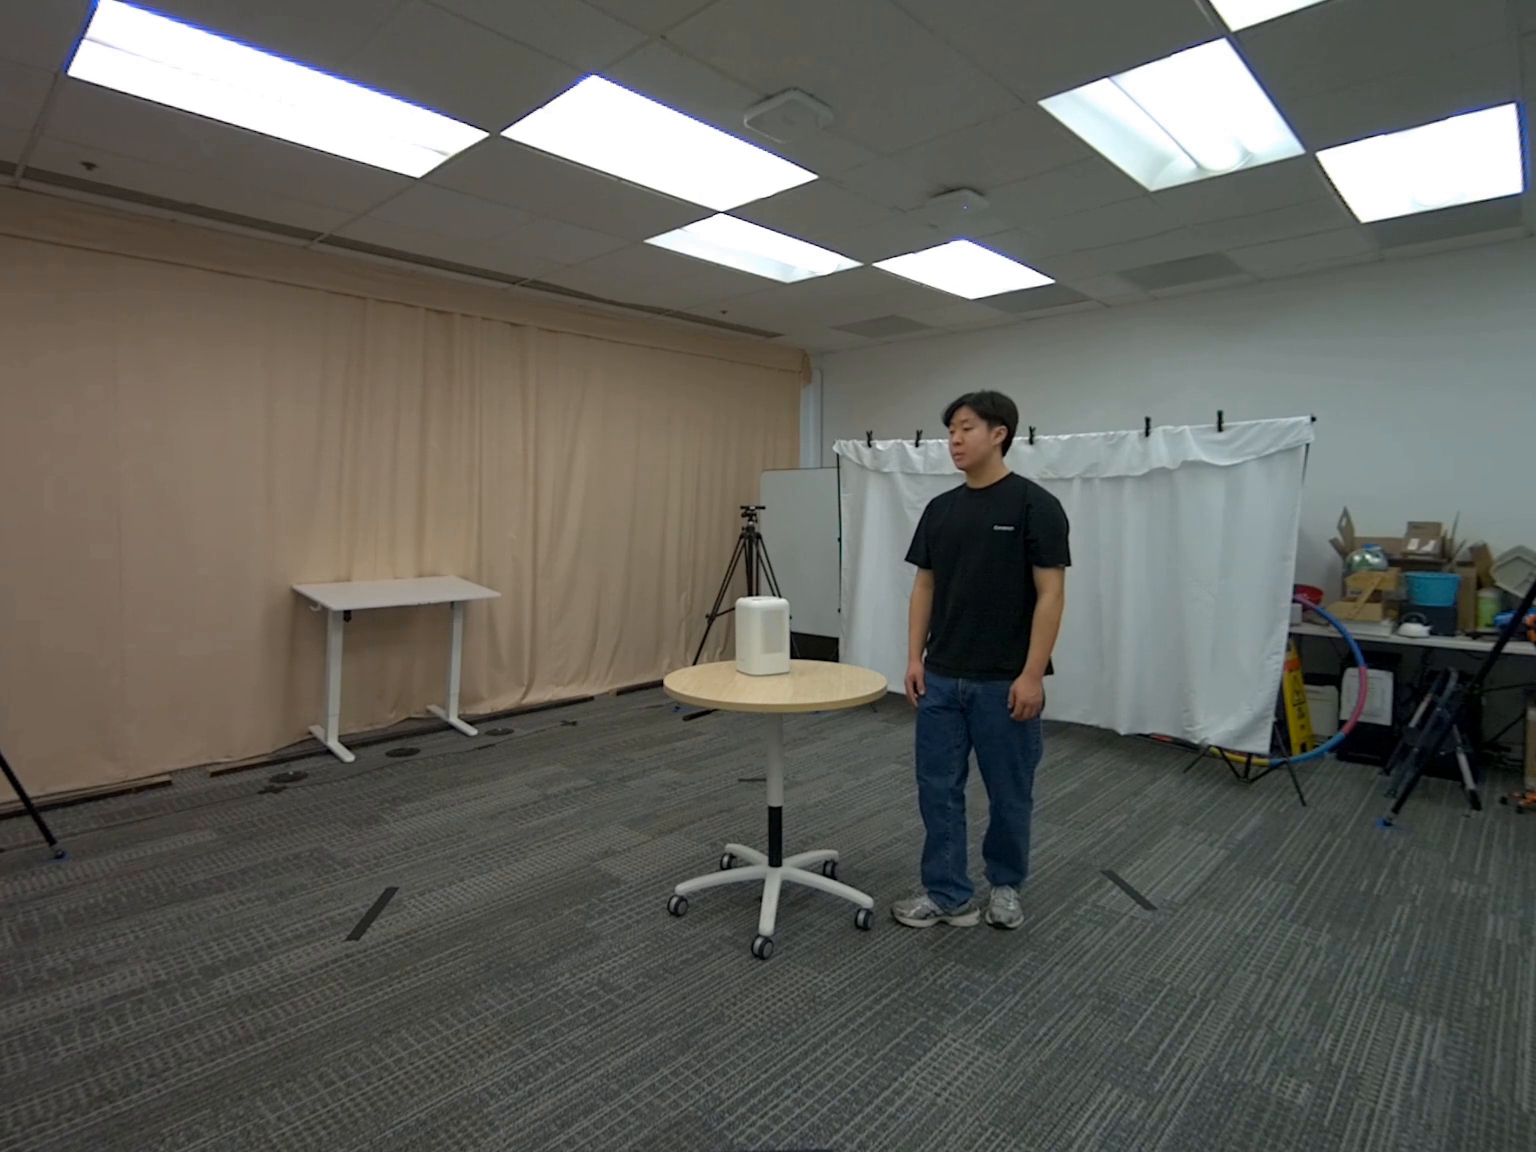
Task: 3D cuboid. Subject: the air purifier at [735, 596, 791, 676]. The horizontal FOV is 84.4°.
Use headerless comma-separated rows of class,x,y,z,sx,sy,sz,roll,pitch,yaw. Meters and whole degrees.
air purifier,-0.016,0.211,3.035,0.167,0.265,0.176,-2,3,-27
